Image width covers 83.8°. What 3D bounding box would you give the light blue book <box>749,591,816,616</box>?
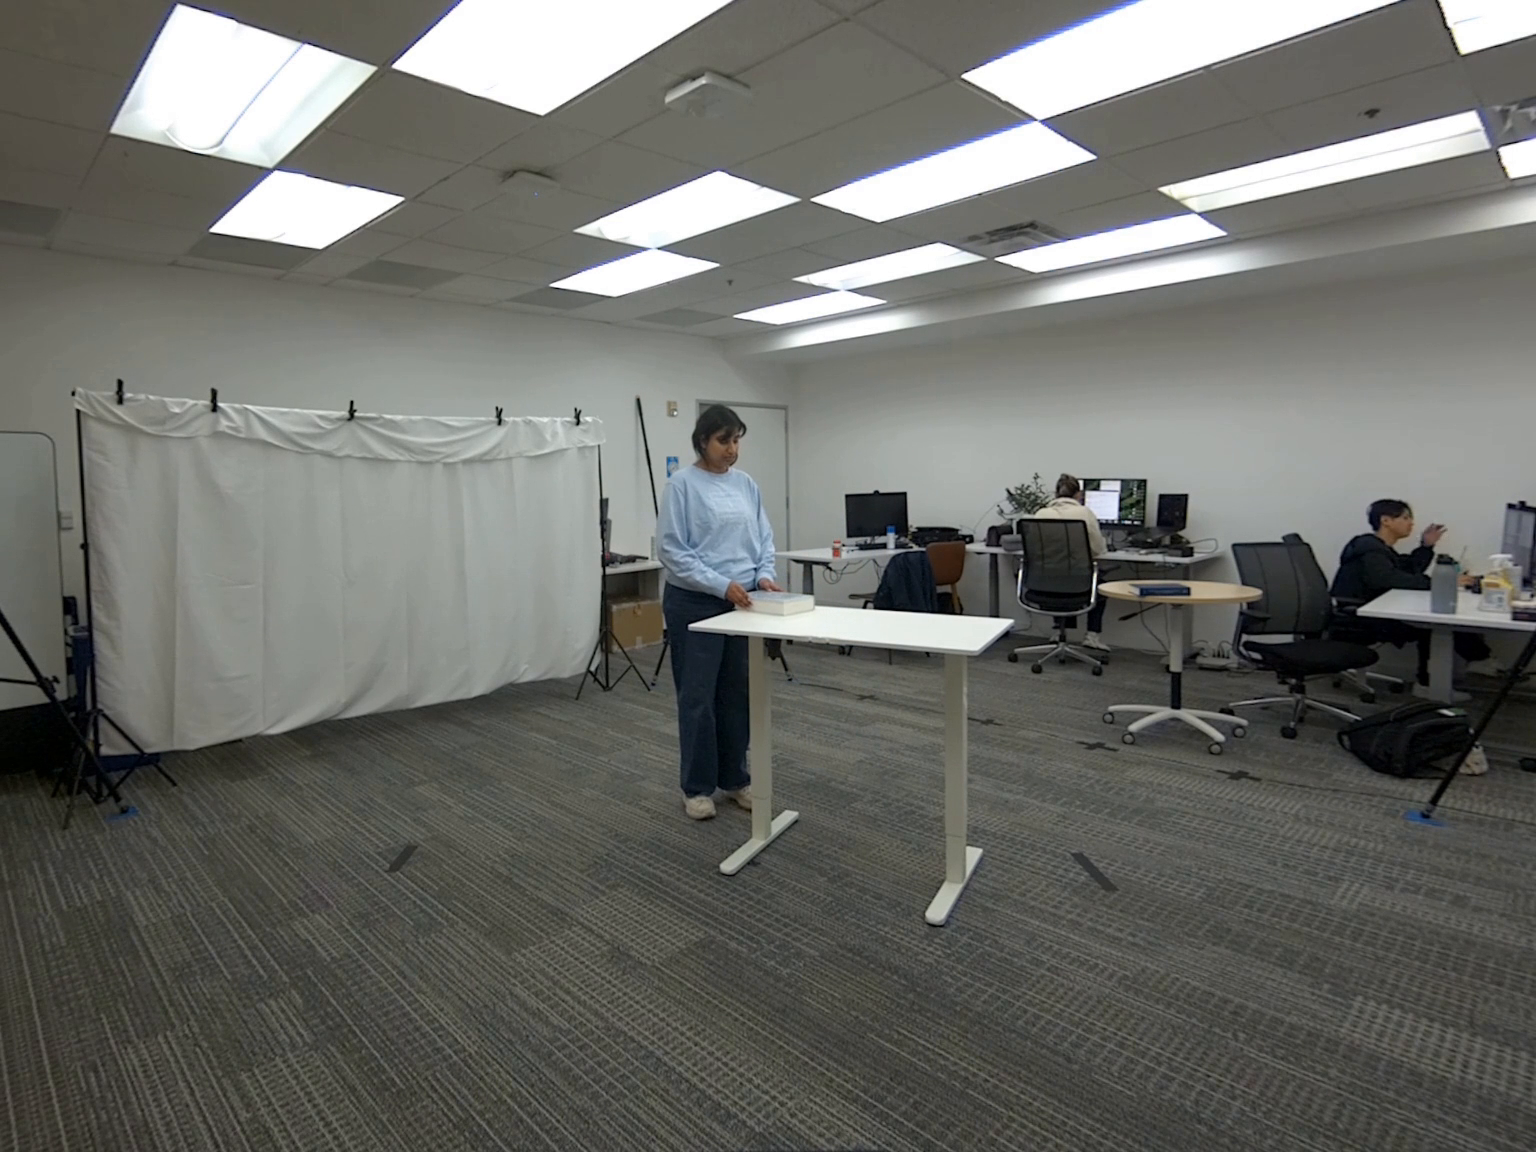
[{"bbox_3d":[0.043,0.110,3.328,0.269,0.059,0.186,3,7,43],"label":"light blue book"}]
